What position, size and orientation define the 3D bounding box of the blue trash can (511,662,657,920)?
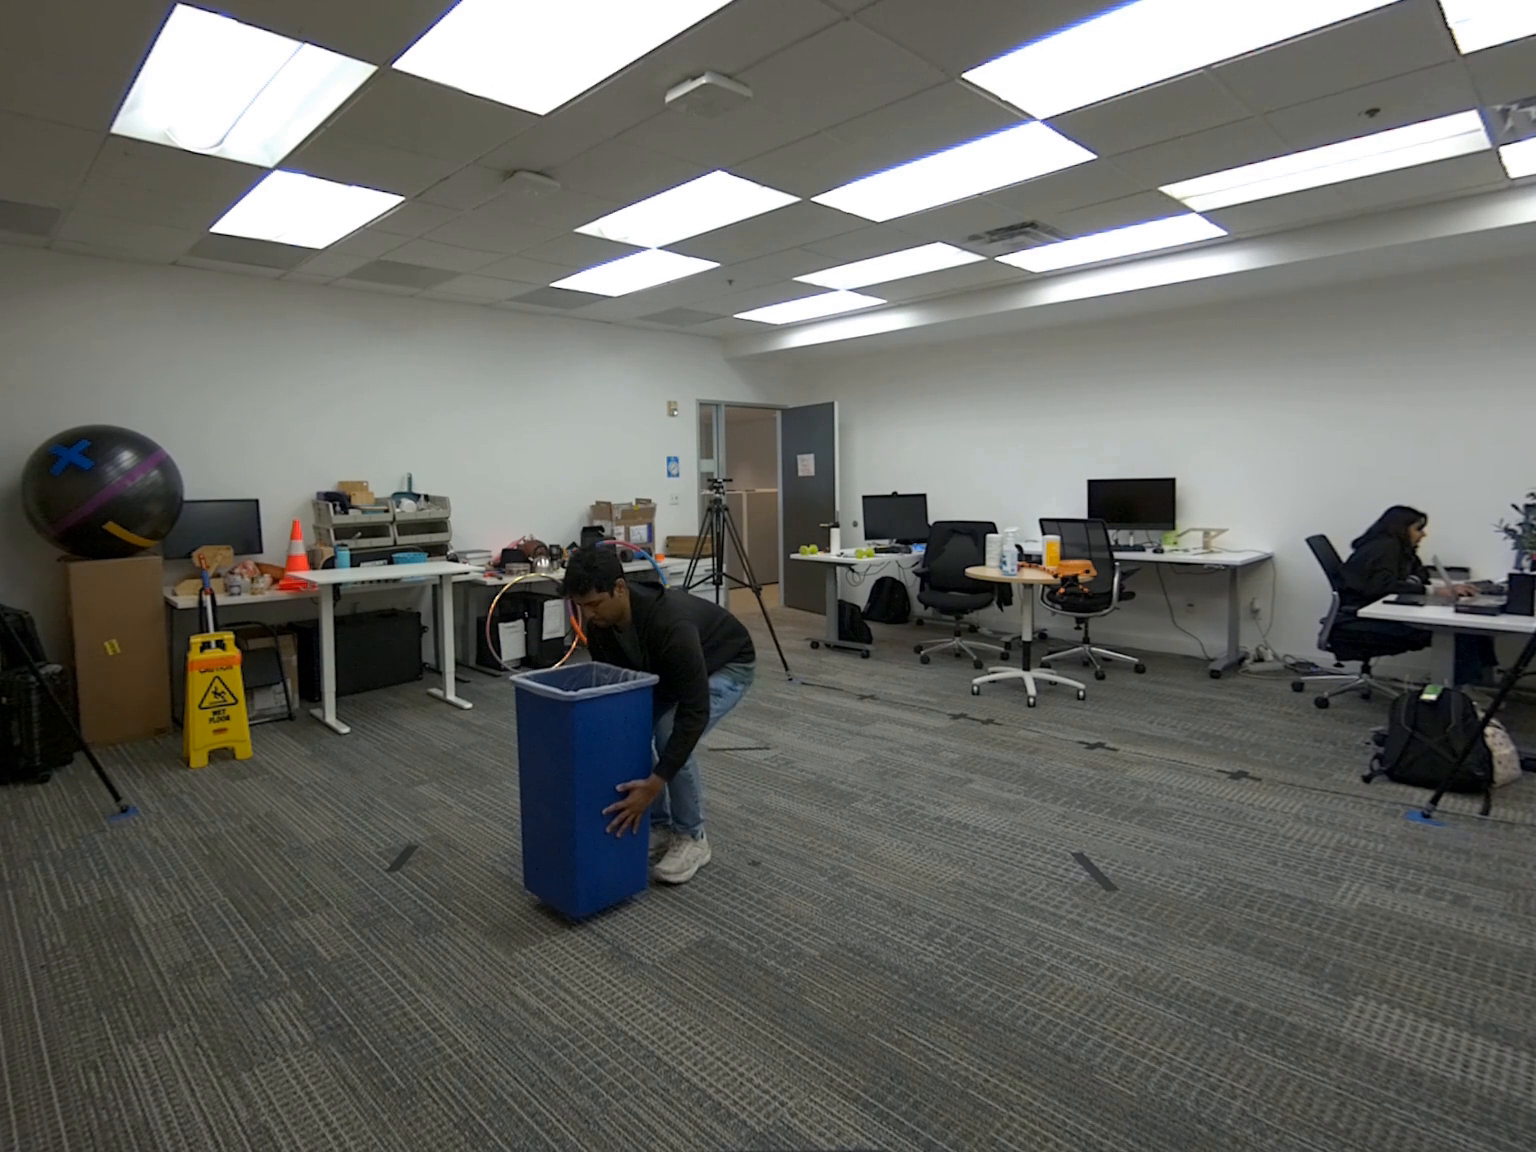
[{"bbox_3d":[-0.611,0.686,2.822,0.389,0.712,0.364,3,4,43],"label":"blue trash can"}]
